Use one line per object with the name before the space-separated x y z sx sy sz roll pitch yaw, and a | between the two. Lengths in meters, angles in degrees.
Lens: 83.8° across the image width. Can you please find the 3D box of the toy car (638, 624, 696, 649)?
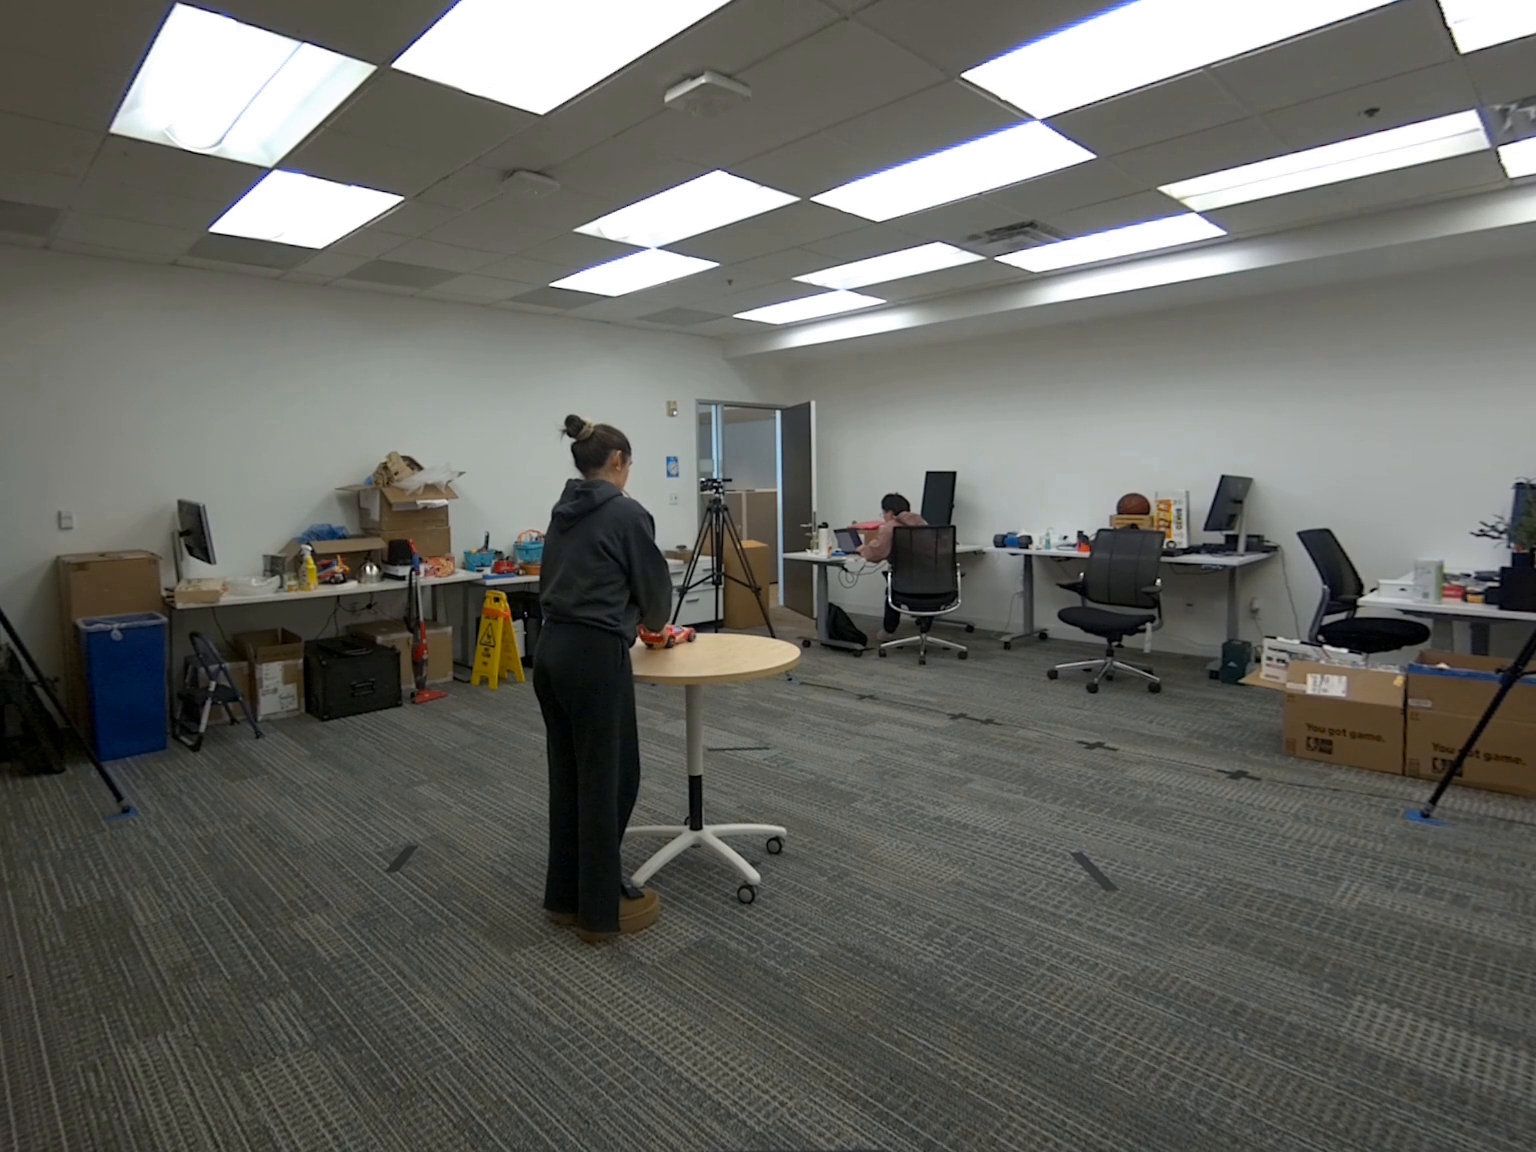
toy car | -0.375 0.228 3.182 0.133 0.083 0.248 1 -4 26
